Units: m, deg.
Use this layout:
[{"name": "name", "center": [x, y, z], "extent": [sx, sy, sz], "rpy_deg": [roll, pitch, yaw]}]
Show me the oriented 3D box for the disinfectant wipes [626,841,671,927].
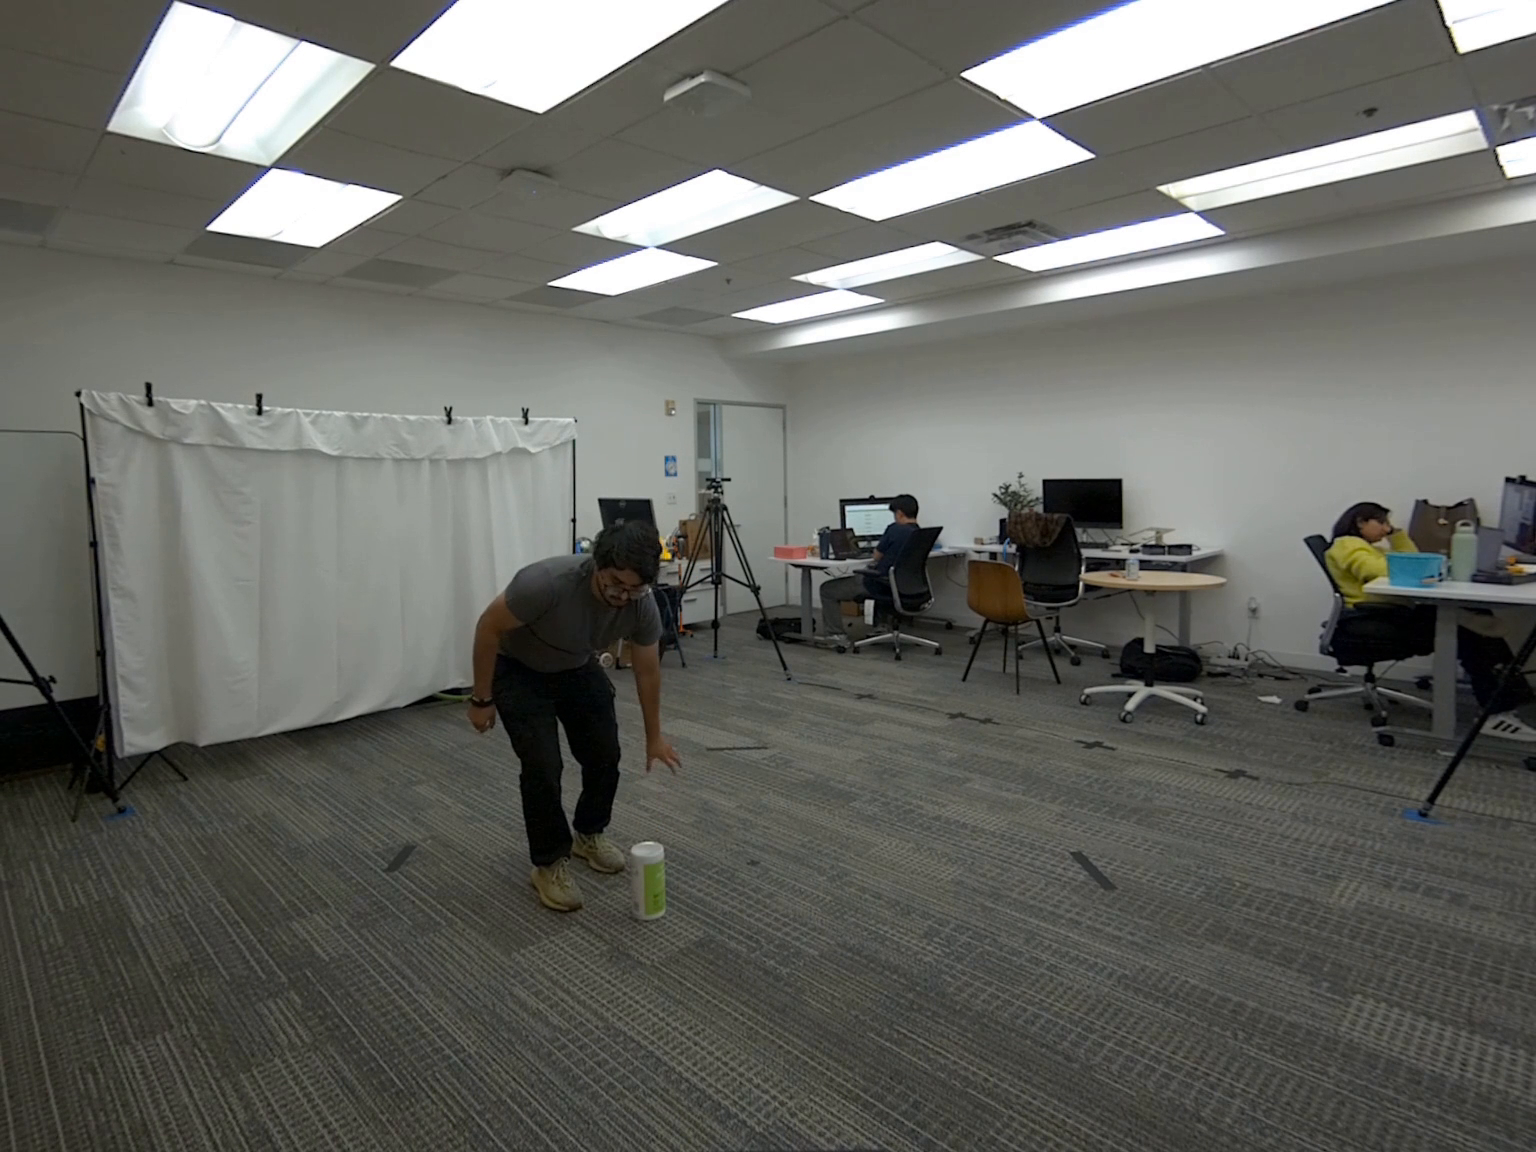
[{"name": "disinfectant wipes", "center": [-0.383, 0.984, 2.750], "extent": [0.118, 0.217, 0.118], "rpy_deg": [3, 1, -2]}]
